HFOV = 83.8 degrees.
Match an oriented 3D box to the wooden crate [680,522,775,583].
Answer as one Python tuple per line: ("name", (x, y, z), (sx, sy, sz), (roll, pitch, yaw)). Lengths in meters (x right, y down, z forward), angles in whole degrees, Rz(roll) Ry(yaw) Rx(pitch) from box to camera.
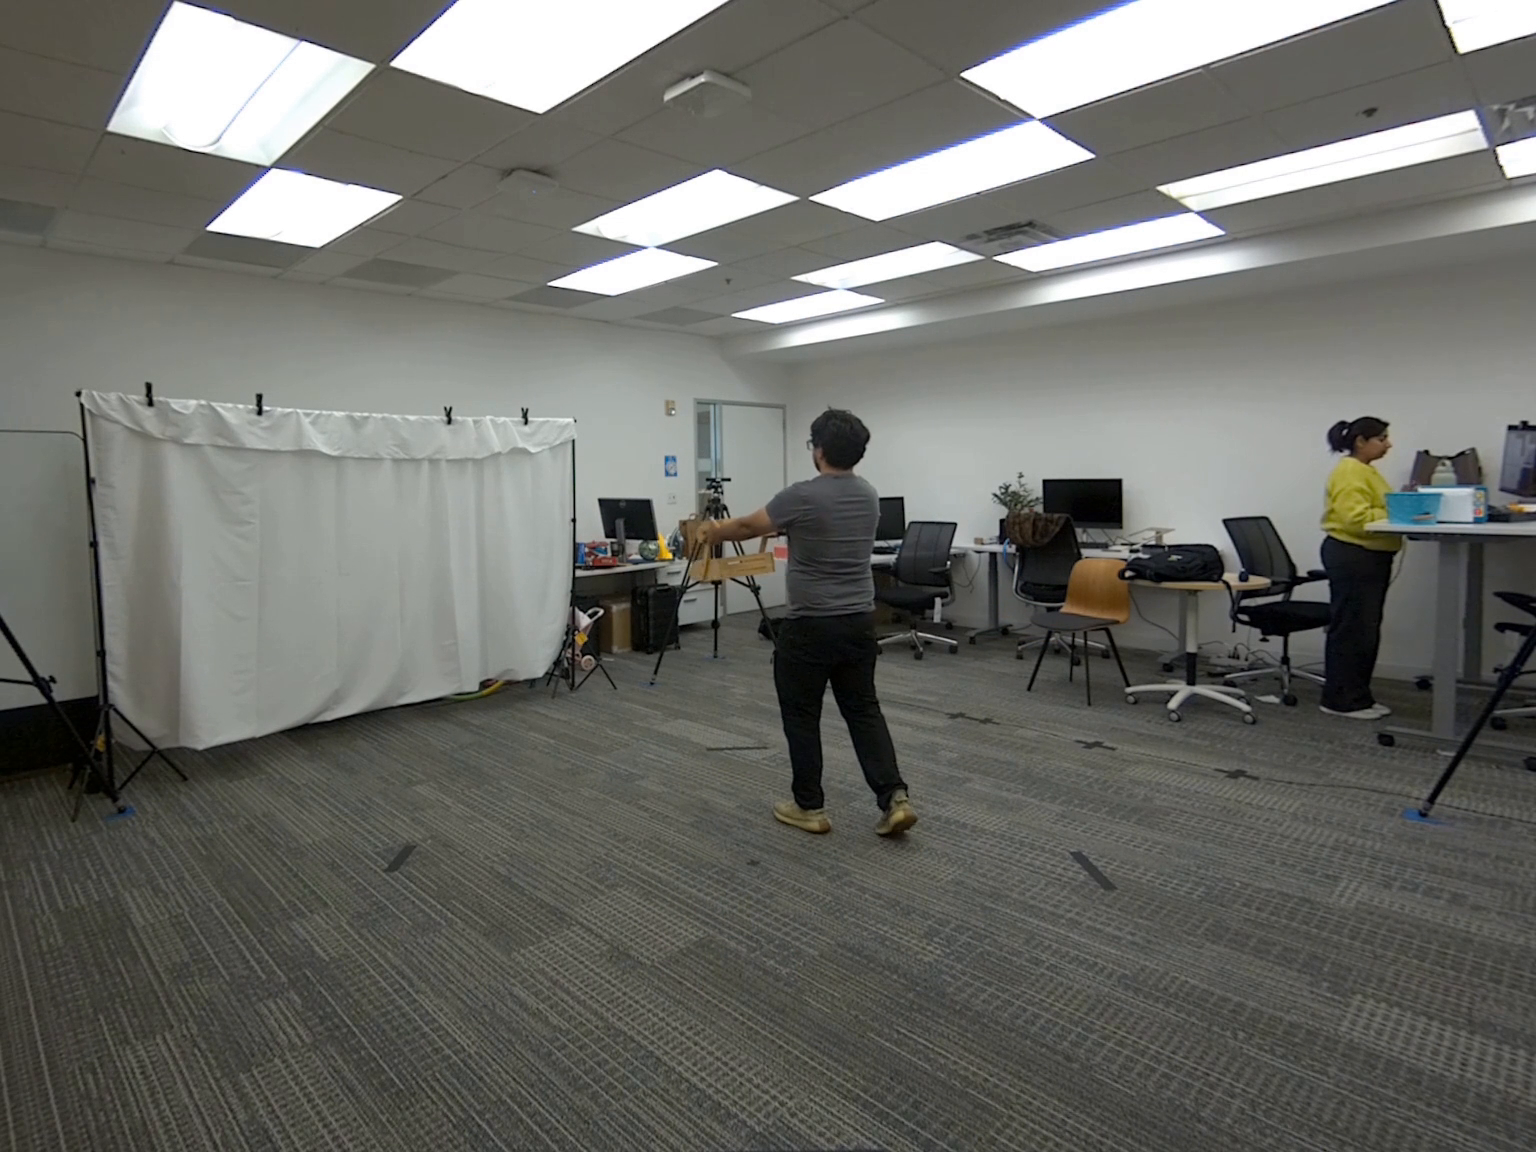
("wooden crate", (-0.162, -0.129, 3.862), (0.316, 0.273, 0.310), (-7, 4, -37))
